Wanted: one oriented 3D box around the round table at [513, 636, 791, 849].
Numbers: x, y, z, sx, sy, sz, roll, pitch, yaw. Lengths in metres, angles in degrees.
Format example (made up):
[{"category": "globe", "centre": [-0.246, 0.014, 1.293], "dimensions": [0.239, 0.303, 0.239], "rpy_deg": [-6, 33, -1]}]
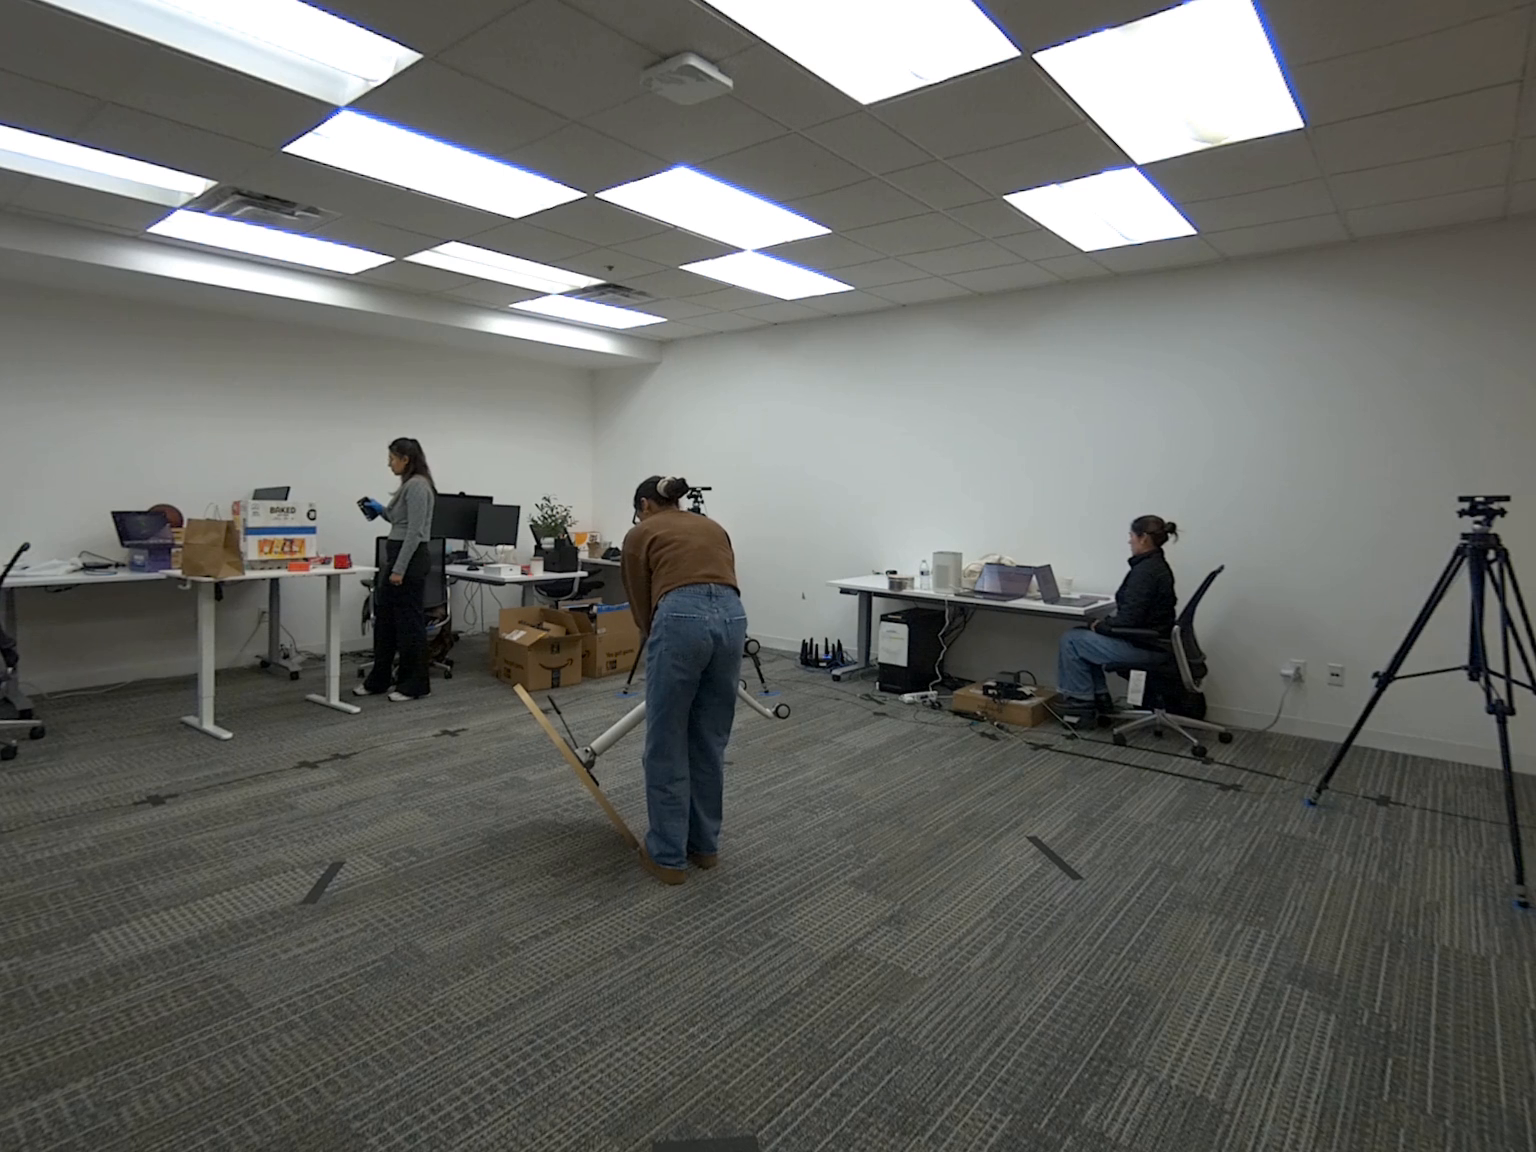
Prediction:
[{"category": "round table", "centre": [-0.473, 0.495, 3.374], "dimensions": [0.790, 0.748, 0.784], "rpy_deg": [-37, 17, -16]}]
